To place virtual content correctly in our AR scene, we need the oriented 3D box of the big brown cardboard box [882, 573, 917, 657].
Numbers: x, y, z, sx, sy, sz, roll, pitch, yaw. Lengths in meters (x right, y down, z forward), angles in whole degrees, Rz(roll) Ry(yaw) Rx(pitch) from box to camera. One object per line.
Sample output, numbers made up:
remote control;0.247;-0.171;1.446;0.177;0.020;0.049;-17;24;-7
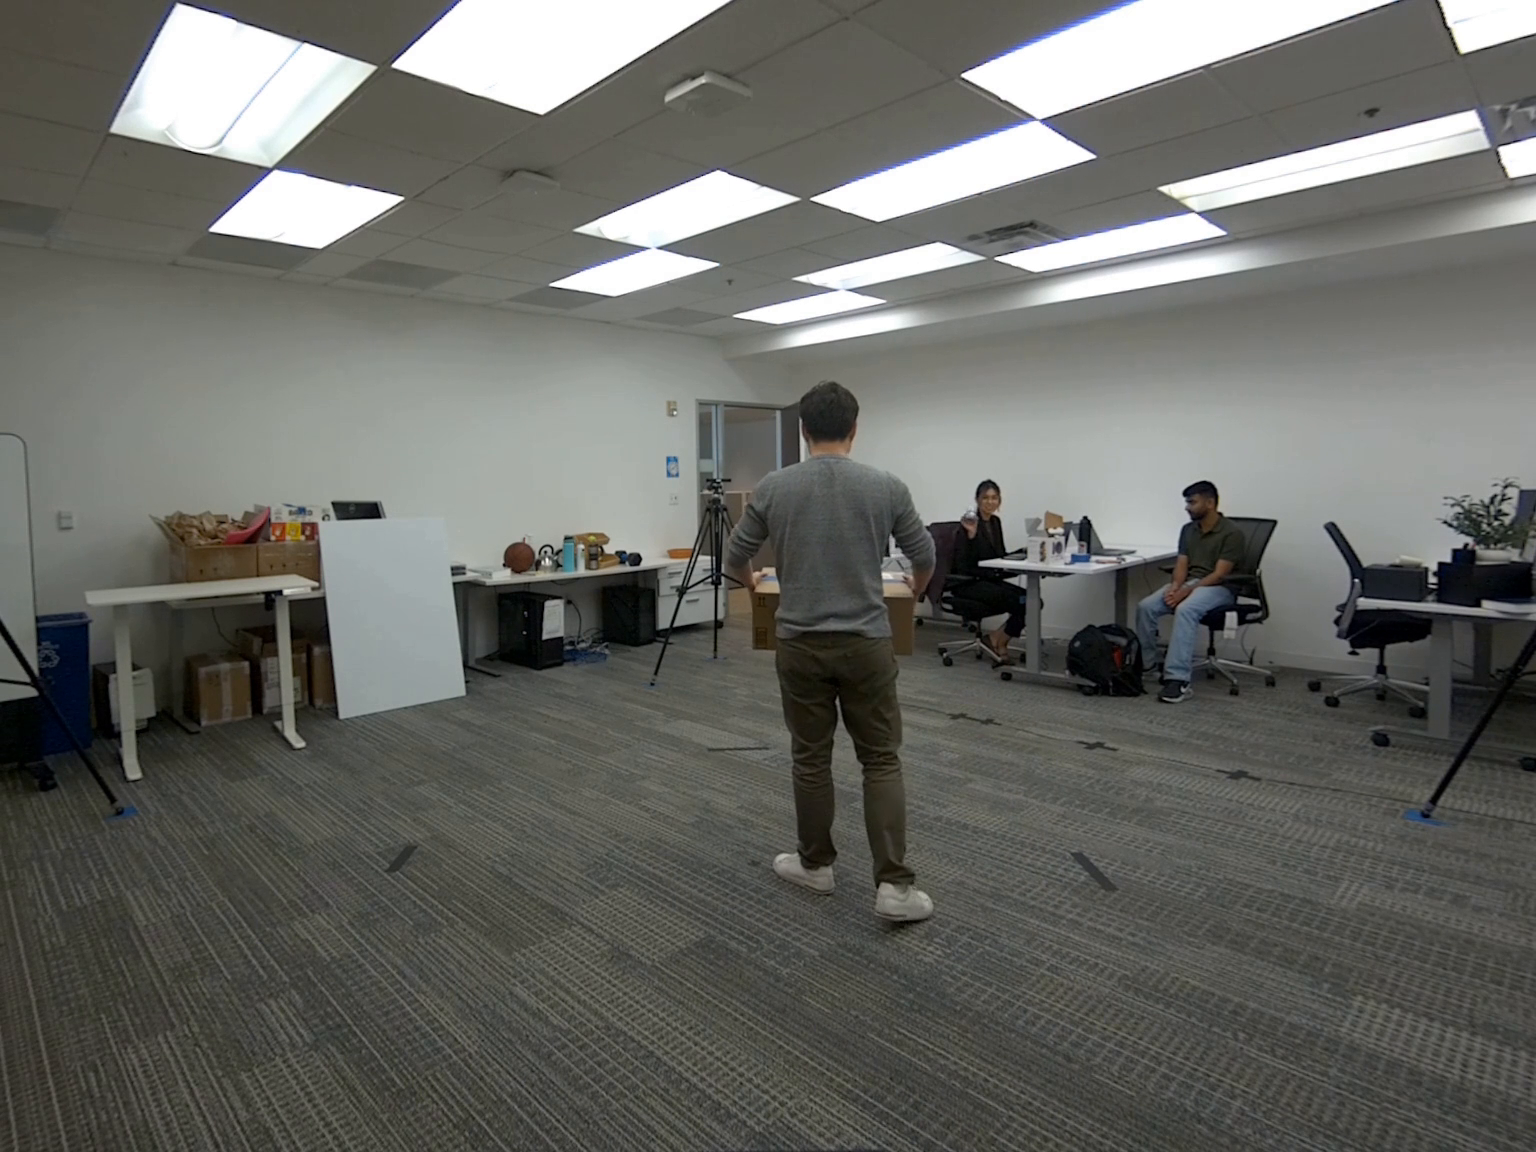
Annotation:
big brown cardboard box;0.267;0.125;3.180;0.589;0.231;0.421;0;10;0
